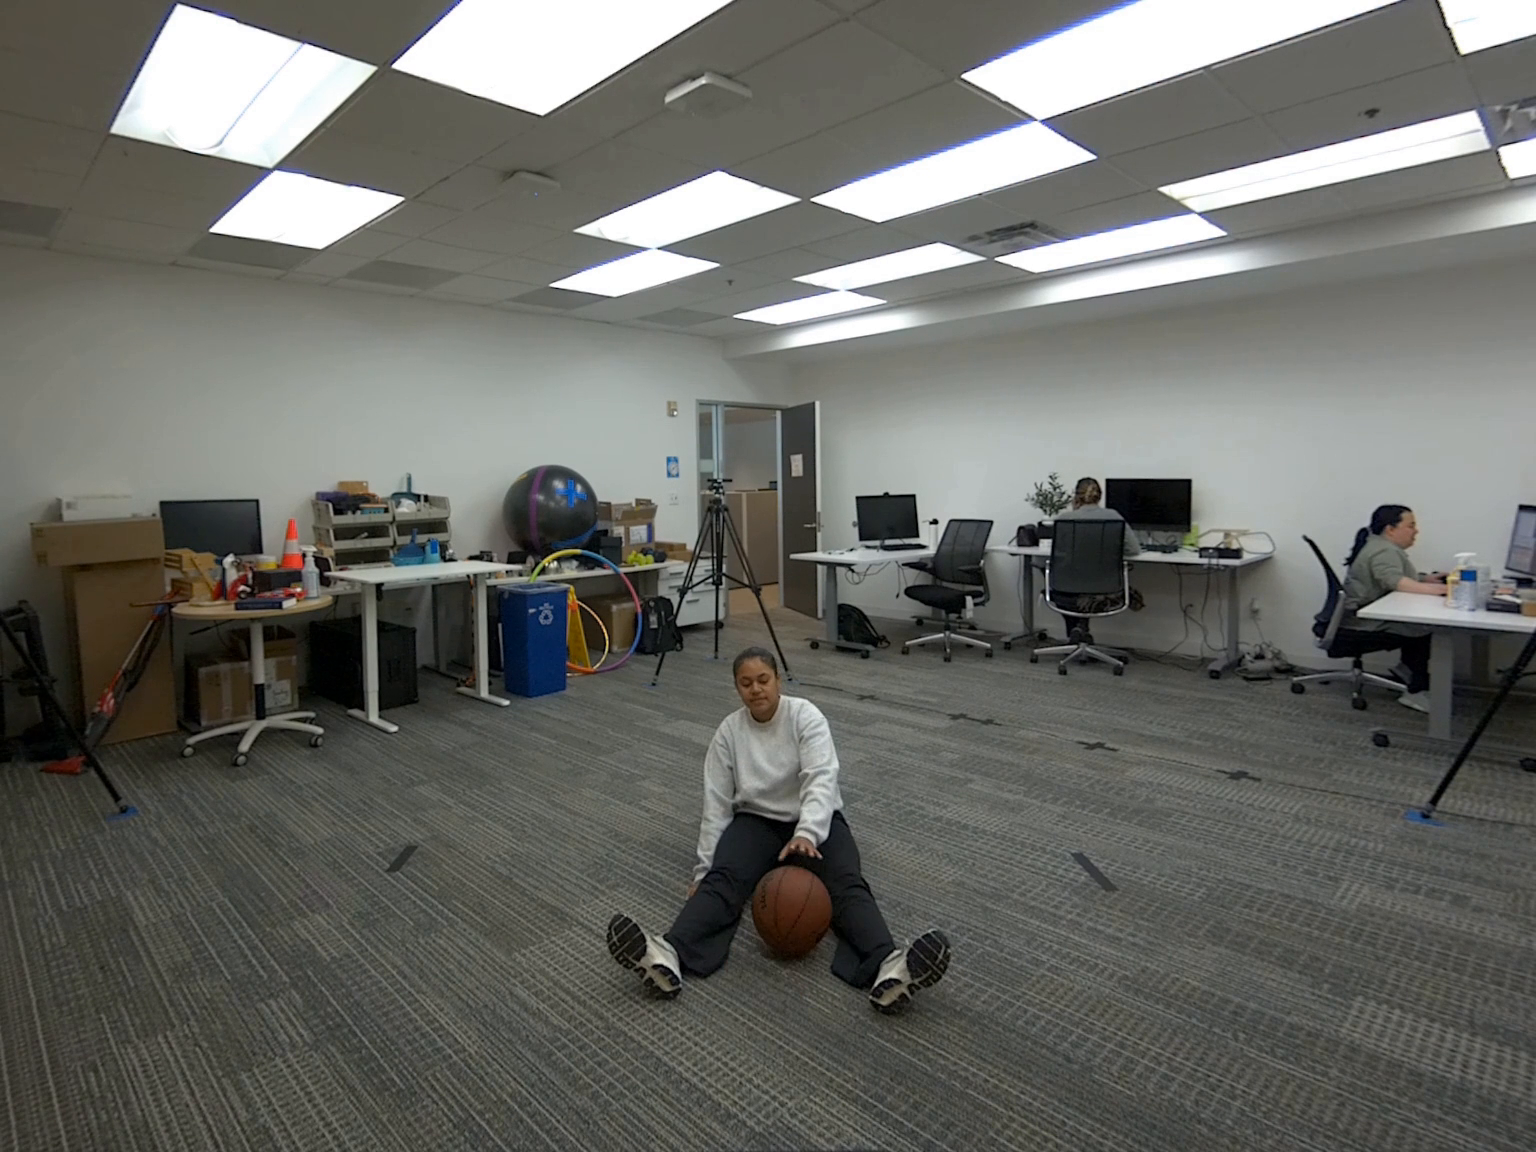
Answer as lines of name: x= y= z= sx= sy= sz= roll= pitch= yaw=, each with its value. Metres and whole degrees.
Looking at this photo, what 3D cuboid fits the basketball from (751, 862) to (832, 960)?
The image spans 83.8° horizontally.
basketball: x=0.067 y=0.993 z=2.535 sx=0.236 sy=0.235 sz=0.237 roll=-1 pitch=5 yaw=-2
